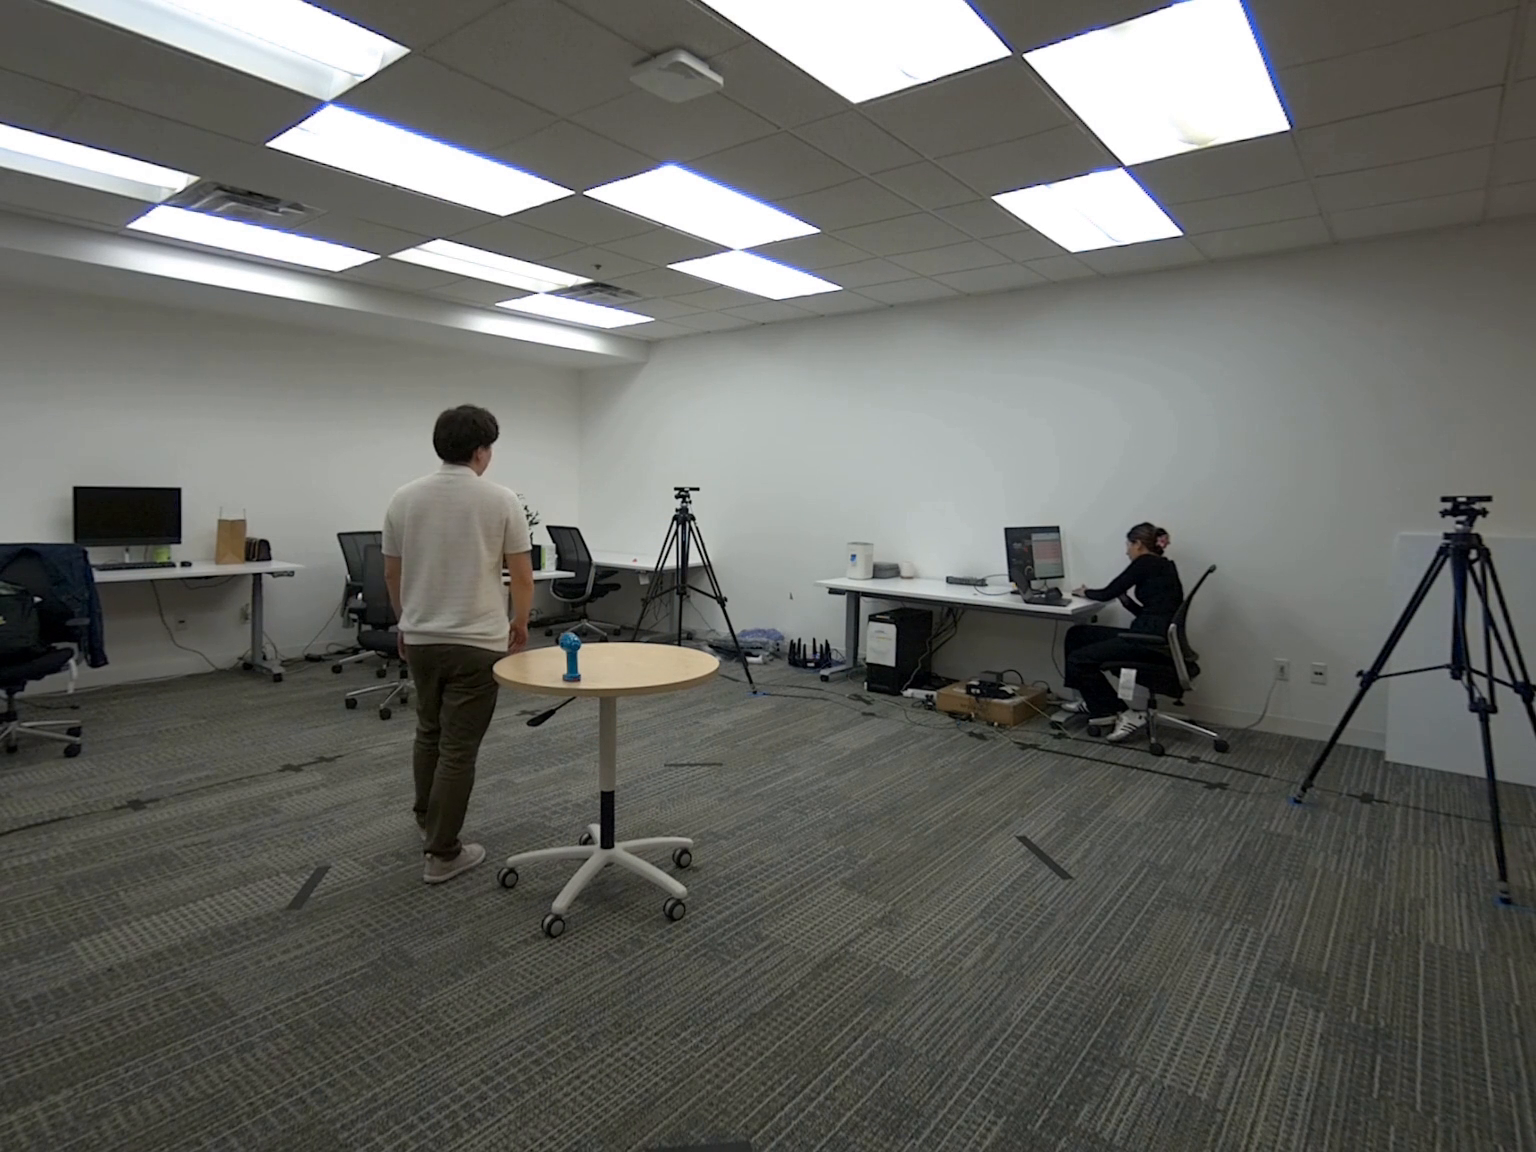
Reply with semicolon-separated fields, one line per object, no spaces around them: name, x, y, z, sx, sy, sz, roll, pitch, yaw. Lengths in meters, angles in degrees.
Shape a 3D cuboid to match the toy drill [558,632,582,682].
toy drill;-0.635;0.244;2.689;0.059;0.145;0.175;0;4;-30
